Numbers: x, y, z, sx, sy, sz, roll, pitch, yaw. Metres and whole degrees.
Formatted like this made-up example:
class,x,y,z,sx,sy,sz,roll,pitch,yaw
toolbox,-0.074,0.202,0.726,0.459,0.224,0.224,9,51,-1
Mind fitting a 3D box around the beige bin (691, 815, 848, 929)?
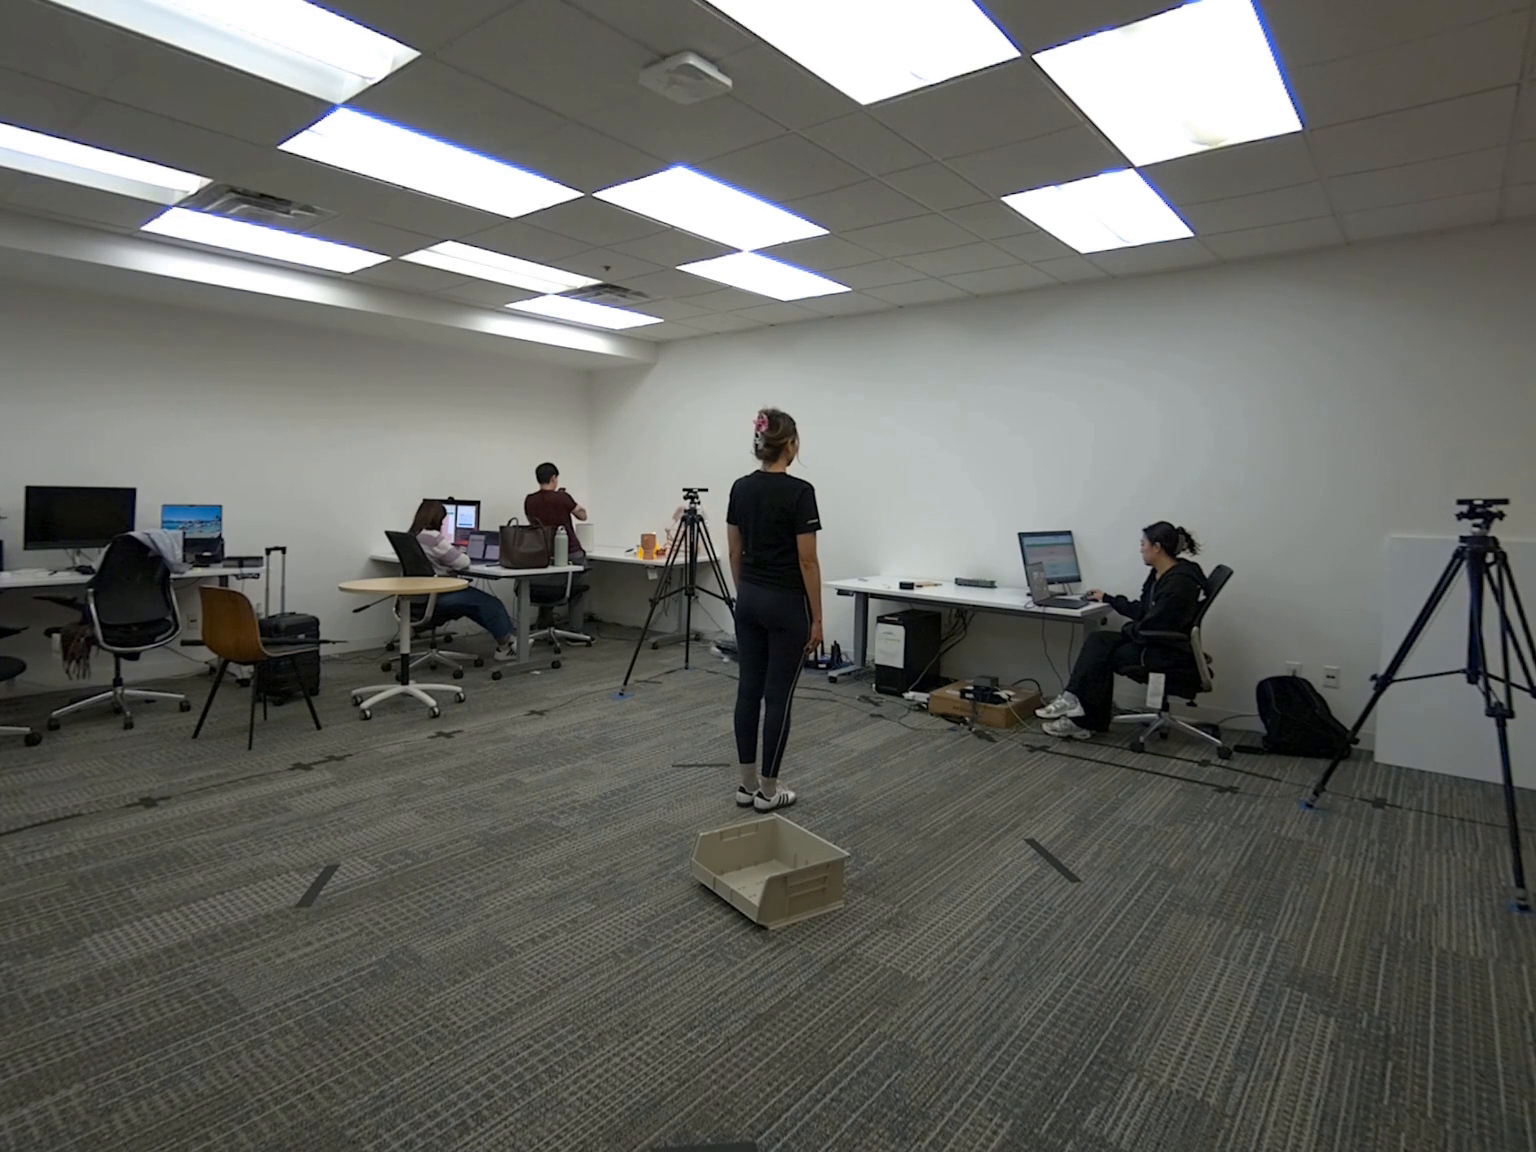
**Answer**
class,x,y,z,sx,sy,sz,roll,pitch,yaw
beige bin,-0.006,1.002,2.922,0.366,0.188,0.436,-1,5,-35
